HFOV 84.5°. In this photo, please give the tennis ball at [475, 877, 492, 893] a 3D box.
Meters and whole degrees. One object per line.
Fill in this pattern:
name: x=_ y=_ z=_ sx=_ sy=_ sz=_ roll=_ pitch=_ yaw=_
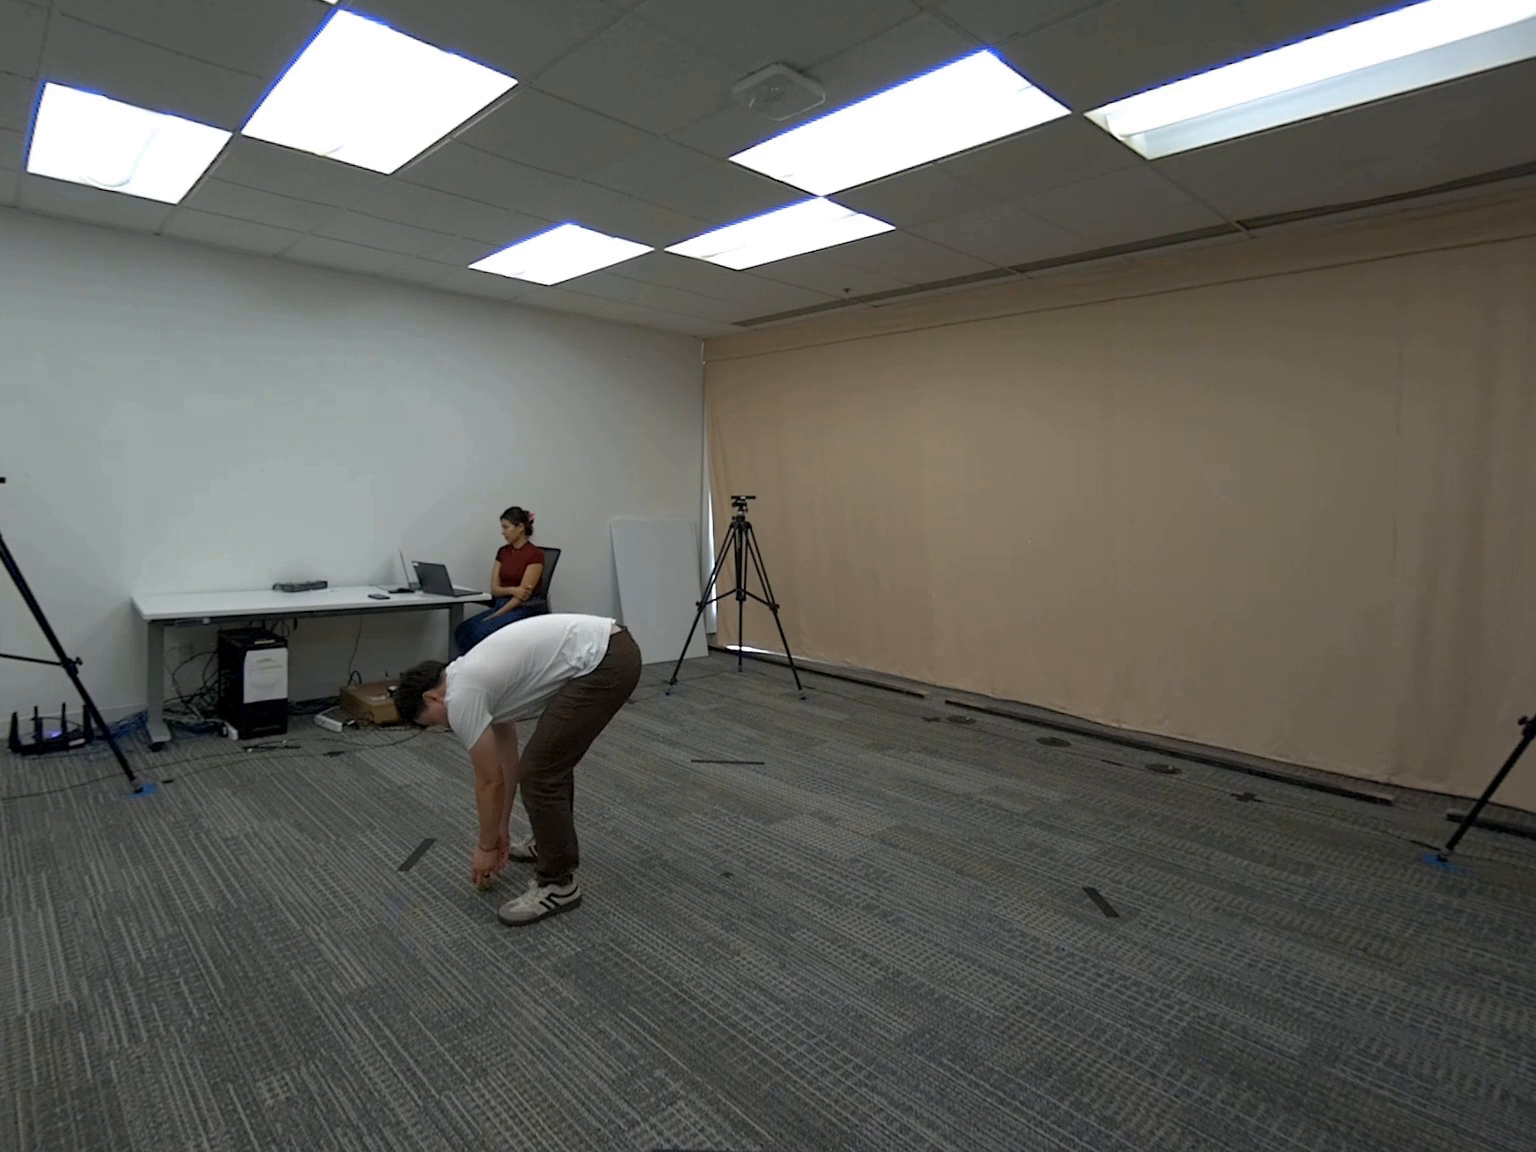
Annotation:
tennis ball: x=-1.002 y=1.059 z=2.954 sx=0.066 sy=0.066 sz=0.067 roll=1 pitch=4 yaw=-1
